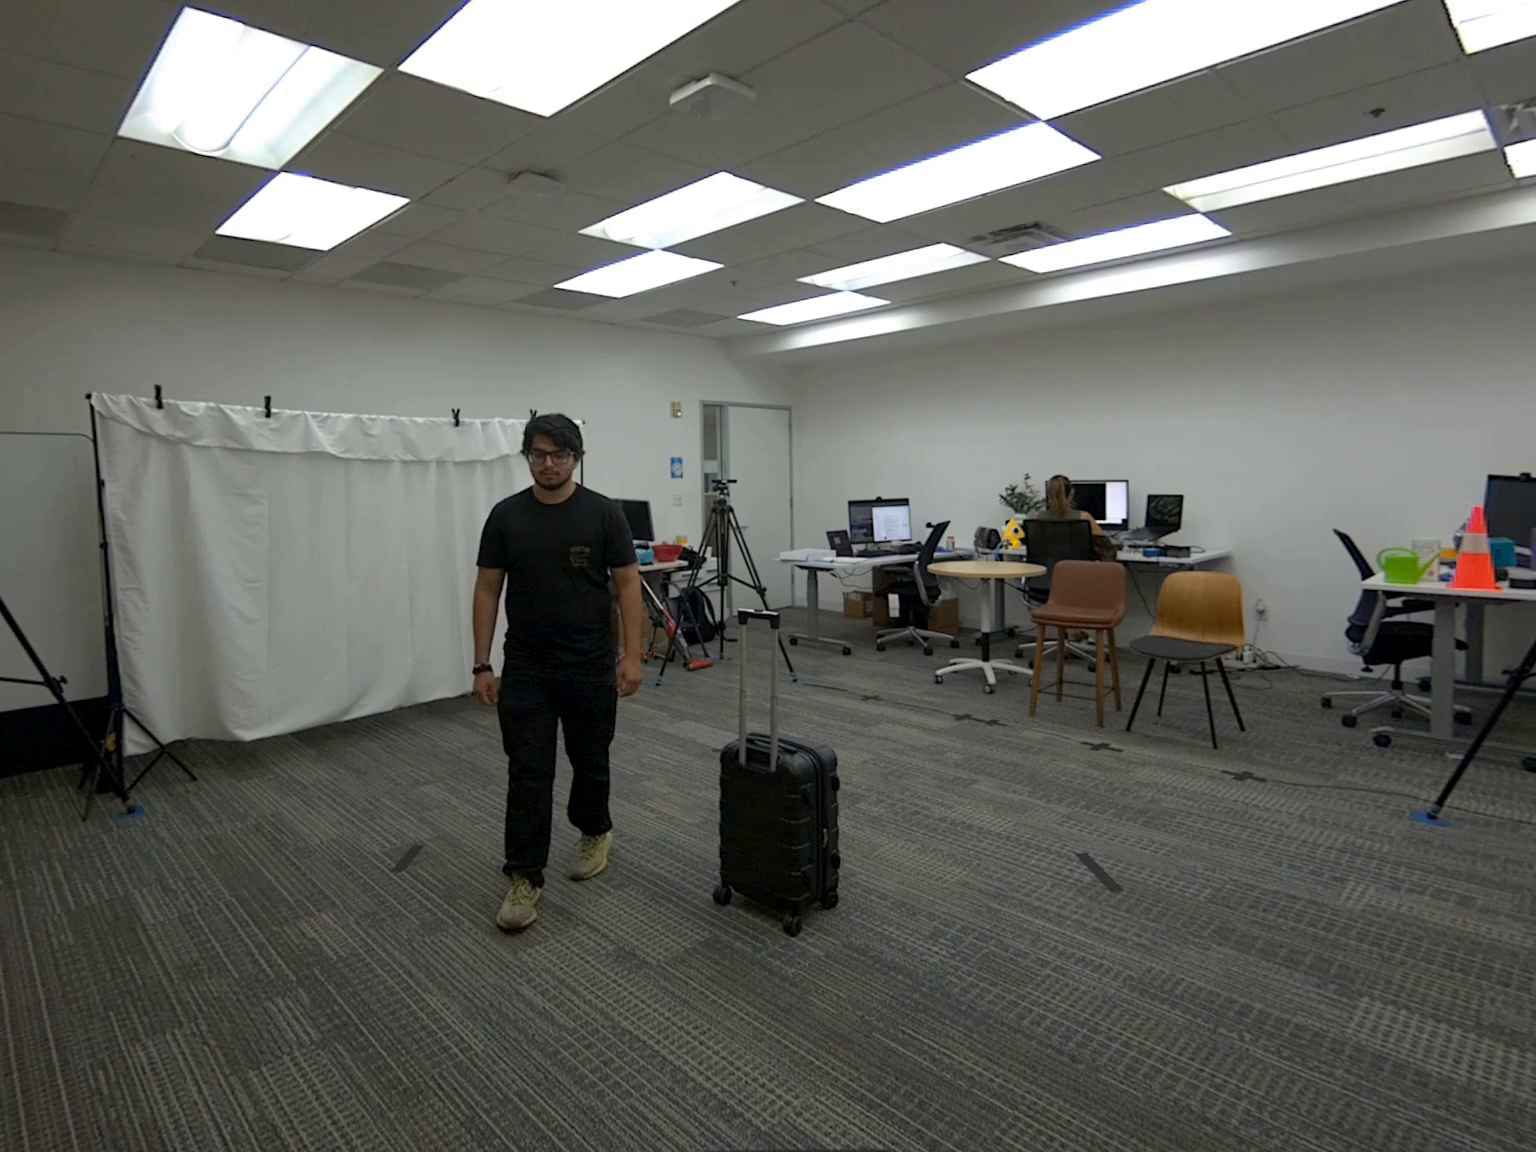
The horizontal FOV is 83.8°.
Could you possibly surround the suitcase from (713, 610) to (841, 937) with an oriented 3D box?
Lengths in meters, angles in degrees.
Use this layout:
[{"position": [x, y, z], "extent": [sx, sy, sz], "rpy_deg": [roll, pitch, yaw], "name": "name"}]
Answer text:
[{"position": [0.036, 0.598, 2.800], "extent": [0.395, 0.977, 0.250], "rpy_deg": [3, 2, 40], "name": "suitcase"}]
